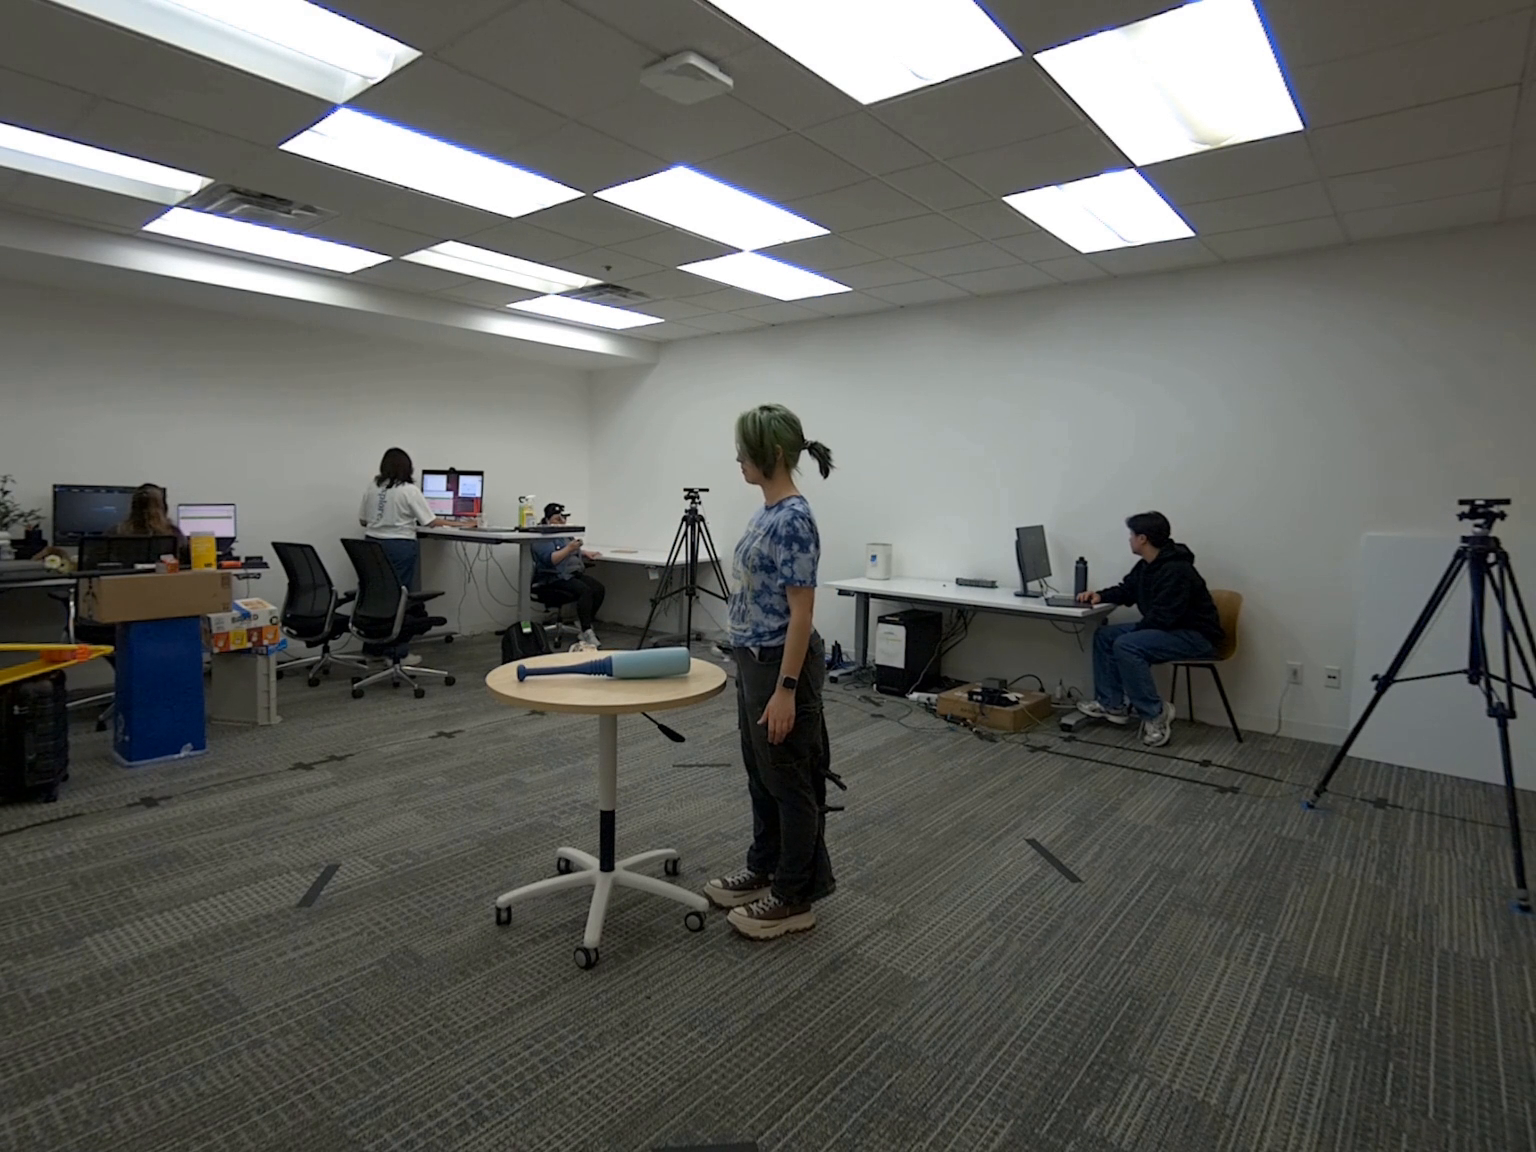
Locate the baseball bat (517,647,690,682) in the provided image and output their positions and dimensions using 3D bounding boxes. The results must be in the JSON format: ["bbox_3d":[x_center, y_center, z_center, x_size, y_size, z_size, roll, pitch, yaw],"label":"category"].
[{"bbox_3d":[-0.529,0.285,2.688,0.536,0.089,0.090,-3,5,-12],"label":"baseball bat"}]
